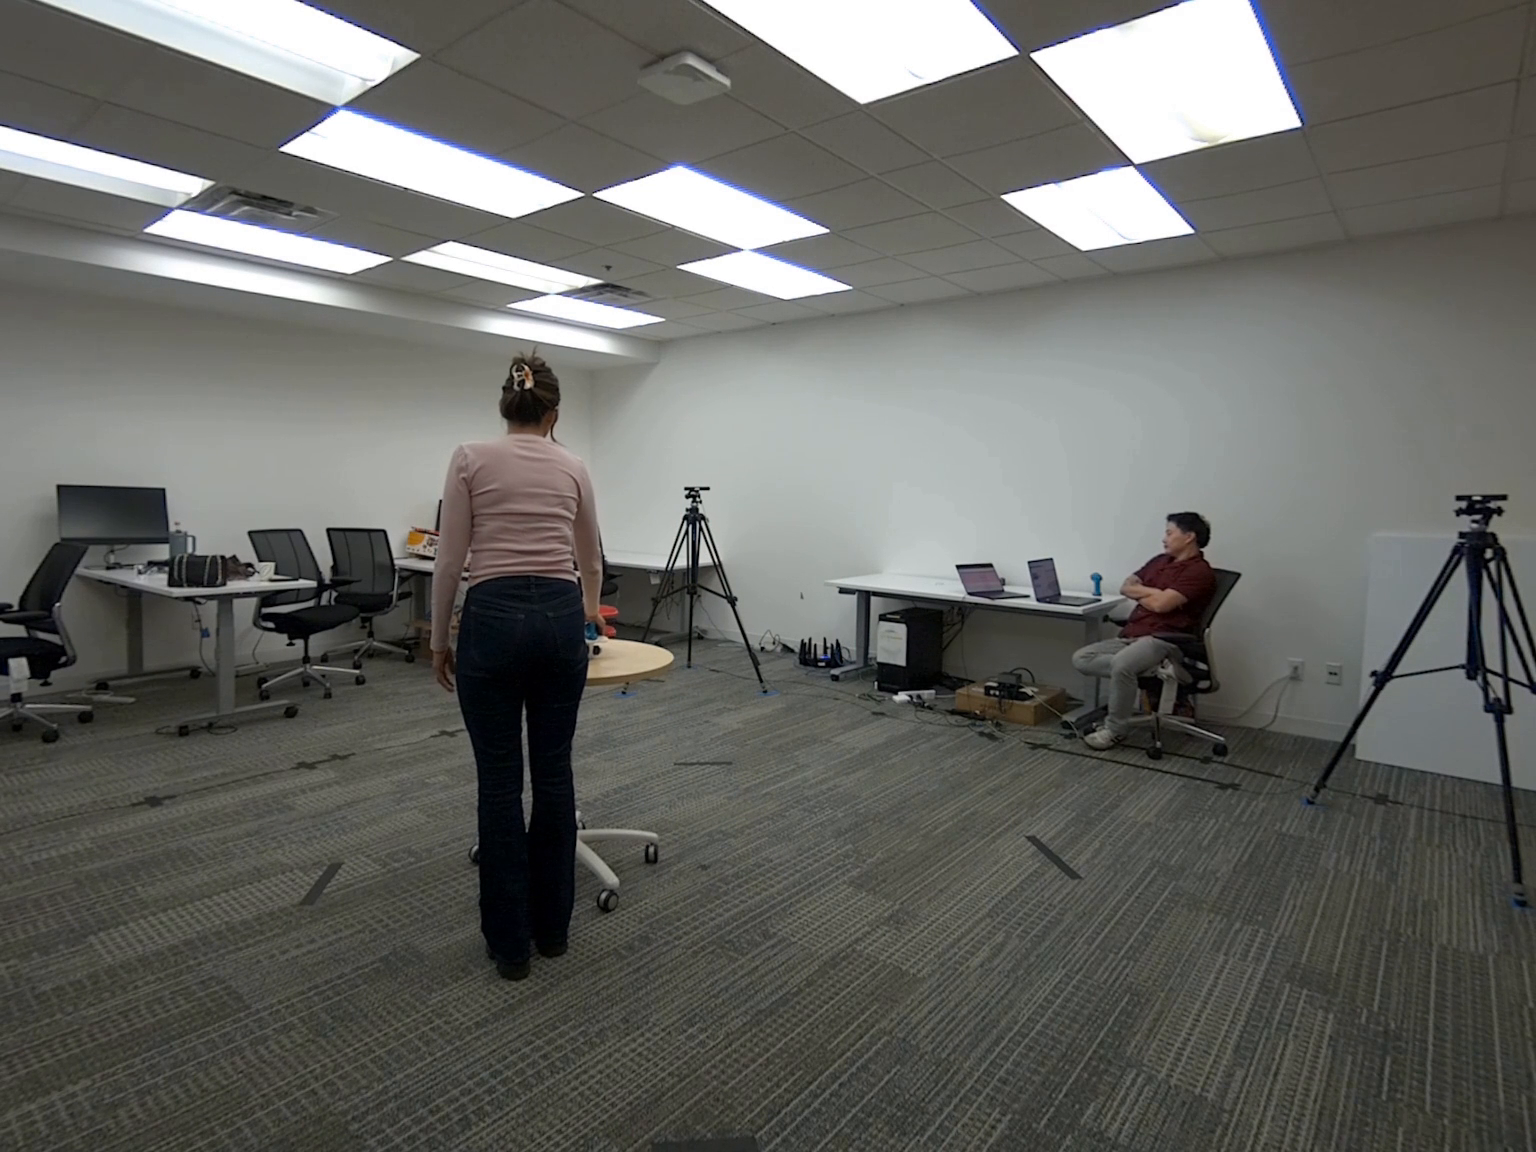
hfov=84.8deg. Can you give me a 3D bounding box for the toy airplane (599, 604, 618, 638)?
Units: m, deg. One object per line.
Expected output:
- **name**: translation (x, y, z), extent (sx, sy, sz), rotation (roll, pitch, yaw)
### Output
- **toy airplane**: translation (-0.653, 0.188, 3.066), extent (0.268, 0.156, 0.244), rotation (6, 7, 40)
